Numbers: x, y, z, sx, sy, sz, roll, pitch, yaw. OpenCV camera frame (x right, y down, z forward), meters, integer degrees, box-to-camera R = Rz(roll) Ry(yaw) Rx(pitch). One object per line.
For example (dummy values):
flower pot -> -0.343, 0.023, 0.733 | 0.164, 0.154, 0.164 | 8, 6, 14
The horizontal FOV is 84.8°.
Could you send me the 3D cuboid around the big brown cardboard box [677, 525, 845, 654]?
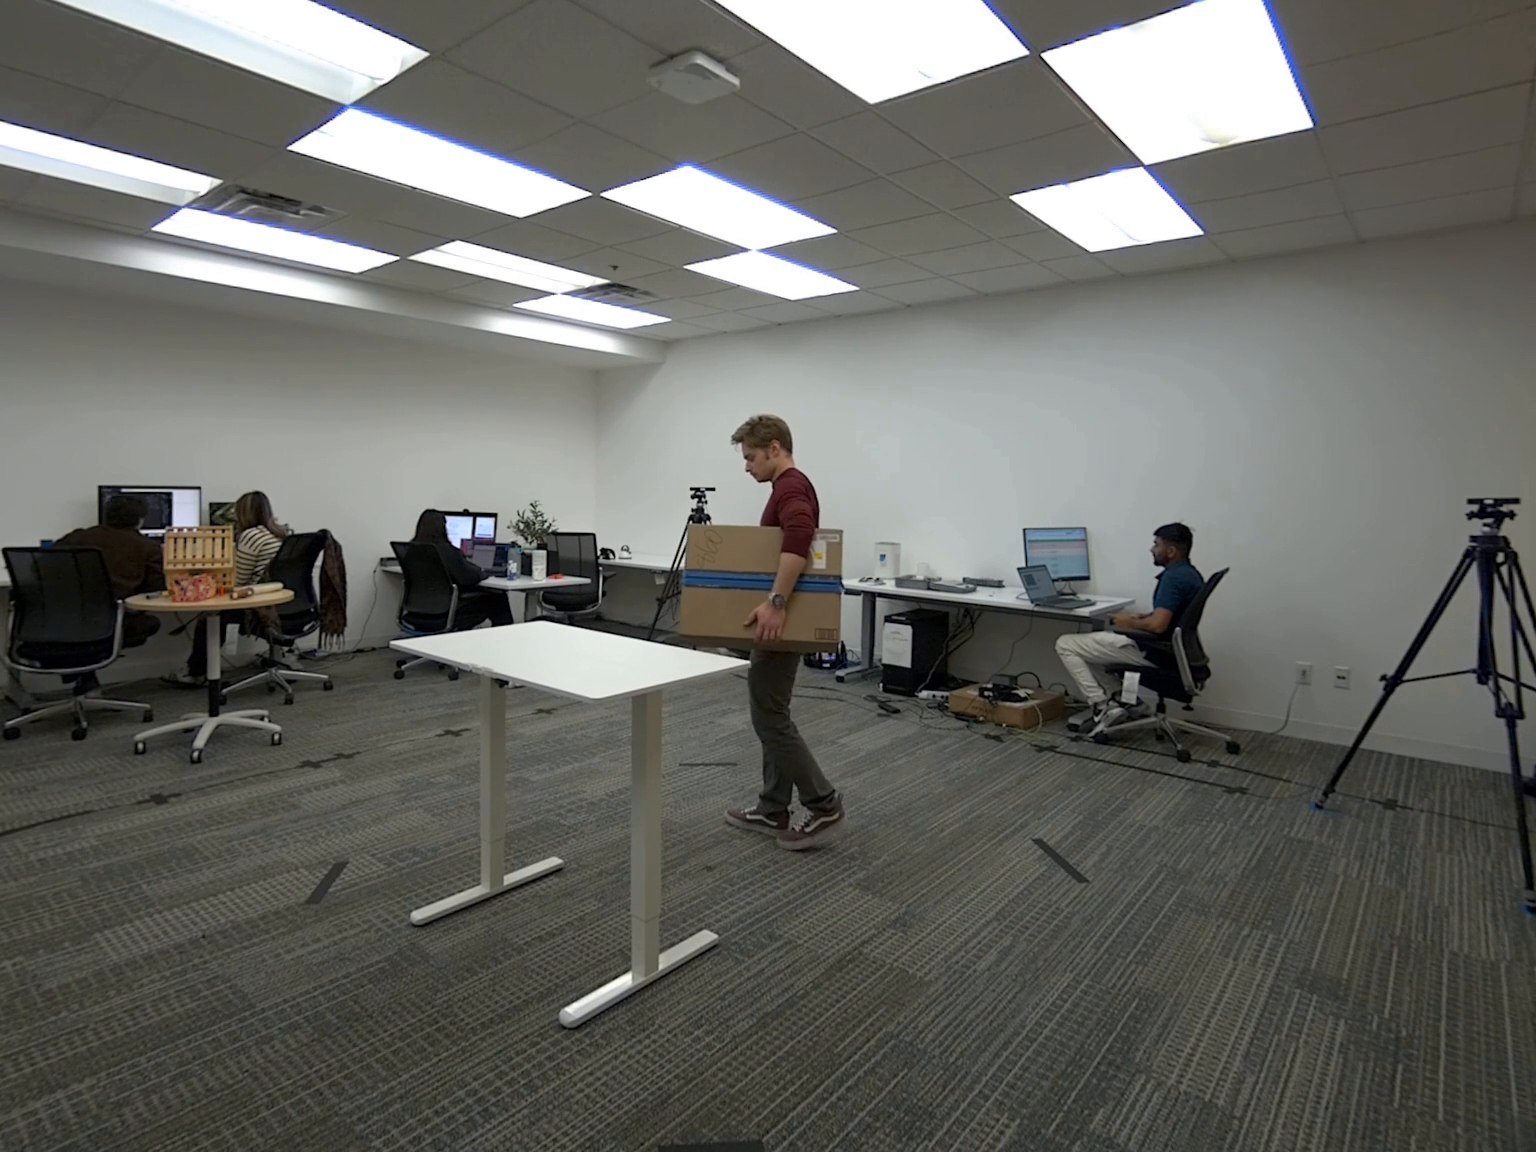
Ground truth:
big brown cardboard box -> -0.030, 0.044, 3.114 | 0.591, 0.424, 0.229 | 2, -17, 3
